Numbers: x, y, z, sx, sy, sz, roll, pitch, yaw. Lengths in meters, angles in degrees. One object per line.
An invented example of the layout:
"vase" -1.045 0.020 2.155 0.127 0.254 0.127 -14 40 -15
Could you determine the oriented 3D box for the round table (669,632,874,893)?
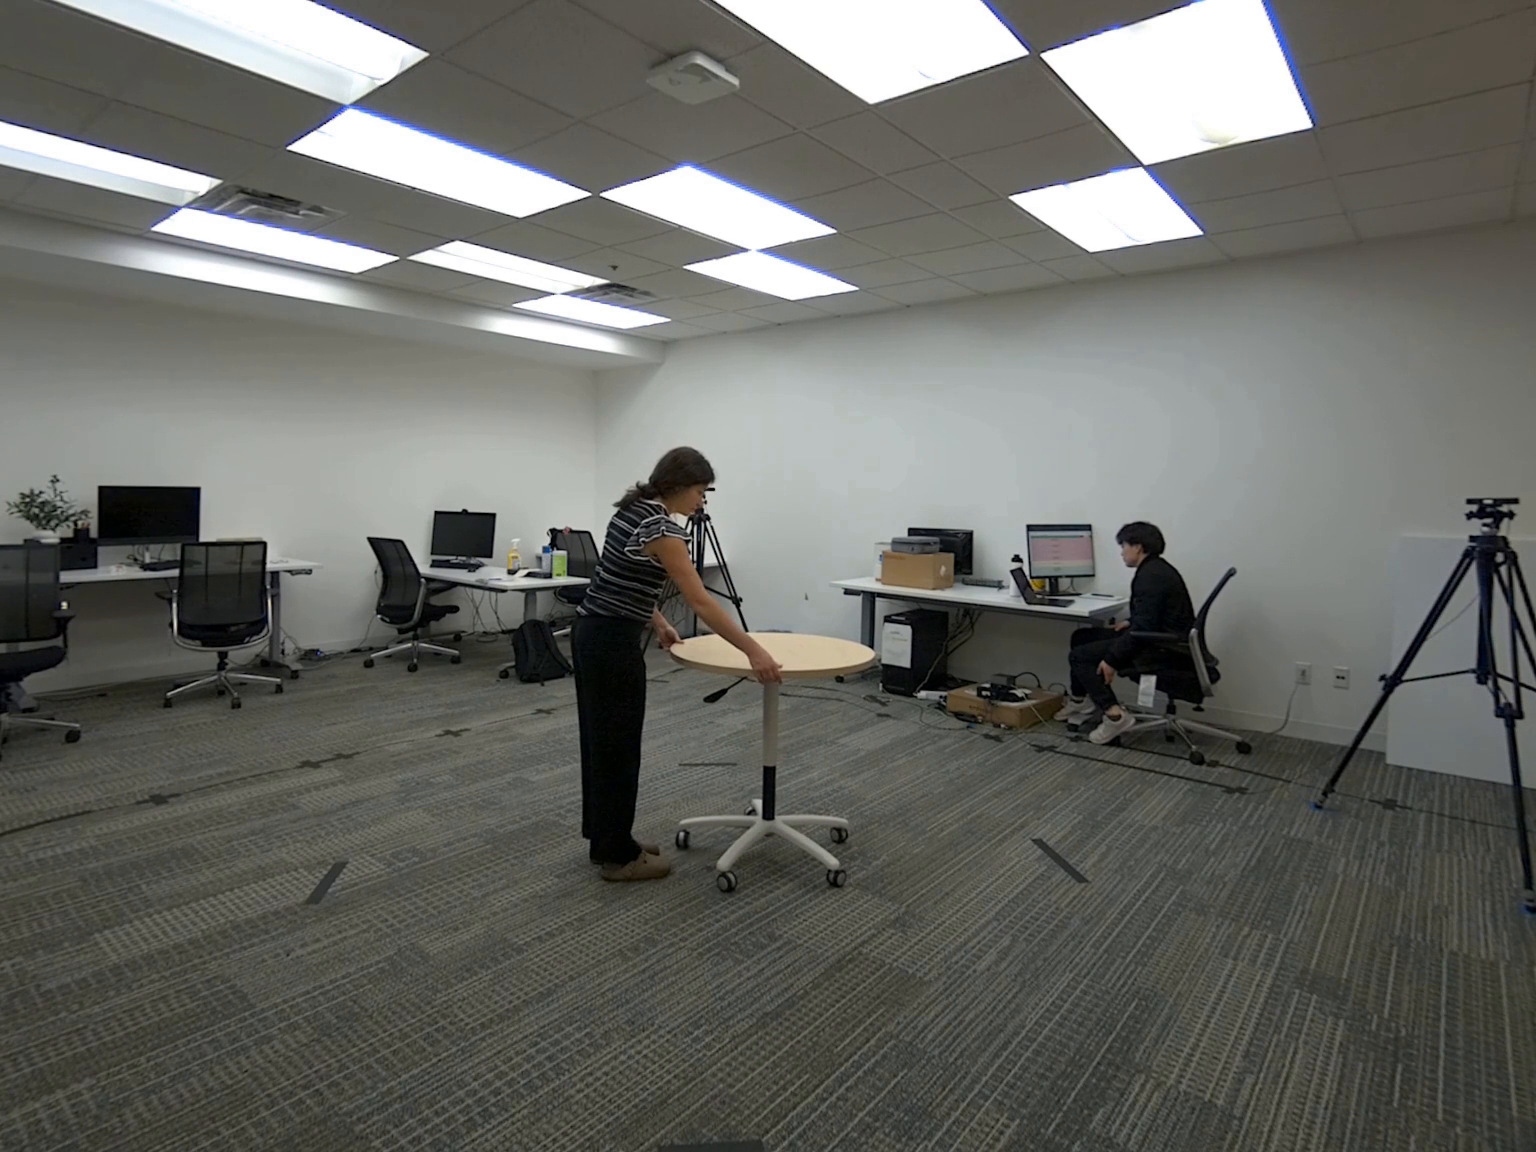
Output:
"round table" 0.000 0.667 3.234 0.784 0.784 0.789 1 4 -2
